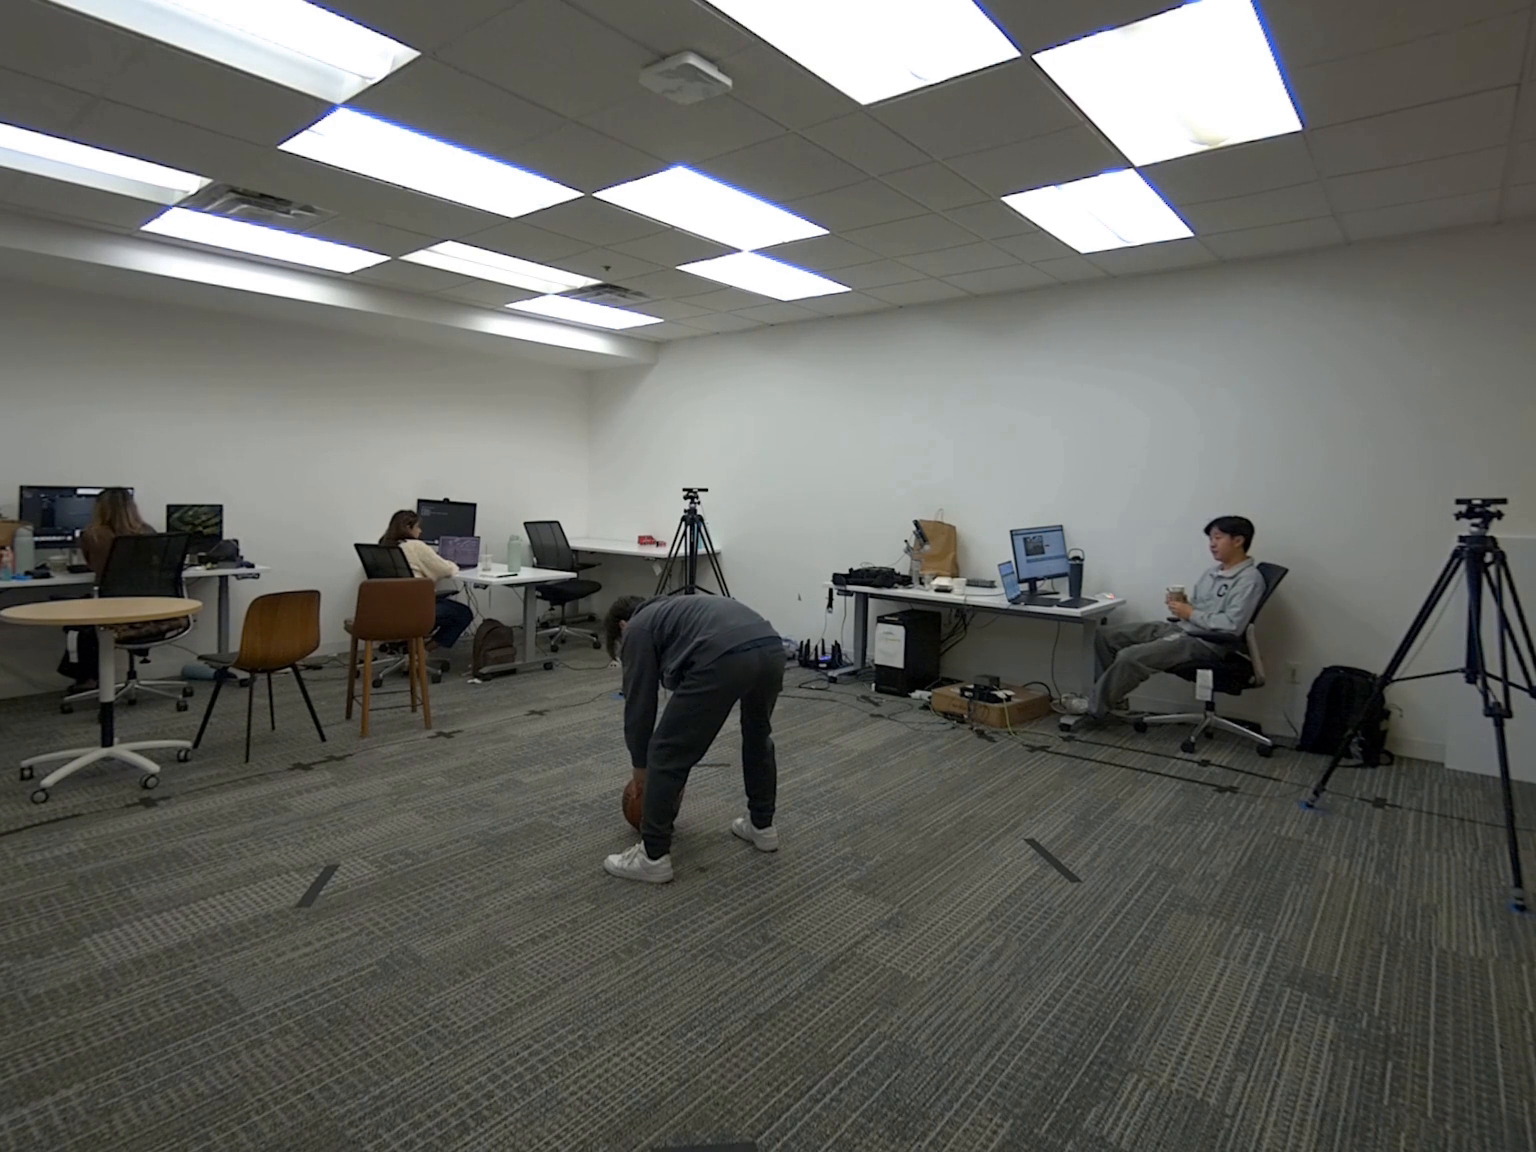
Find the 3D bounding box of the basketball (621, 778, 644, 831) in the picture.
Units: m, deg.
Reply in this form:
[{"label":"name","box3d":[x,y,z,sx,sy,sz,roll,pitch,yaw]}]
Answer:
[{"label":"basketball","box3d":[-0.479,0.910,3.450,0.235,0.235,0.237,1,4,-2]}]
